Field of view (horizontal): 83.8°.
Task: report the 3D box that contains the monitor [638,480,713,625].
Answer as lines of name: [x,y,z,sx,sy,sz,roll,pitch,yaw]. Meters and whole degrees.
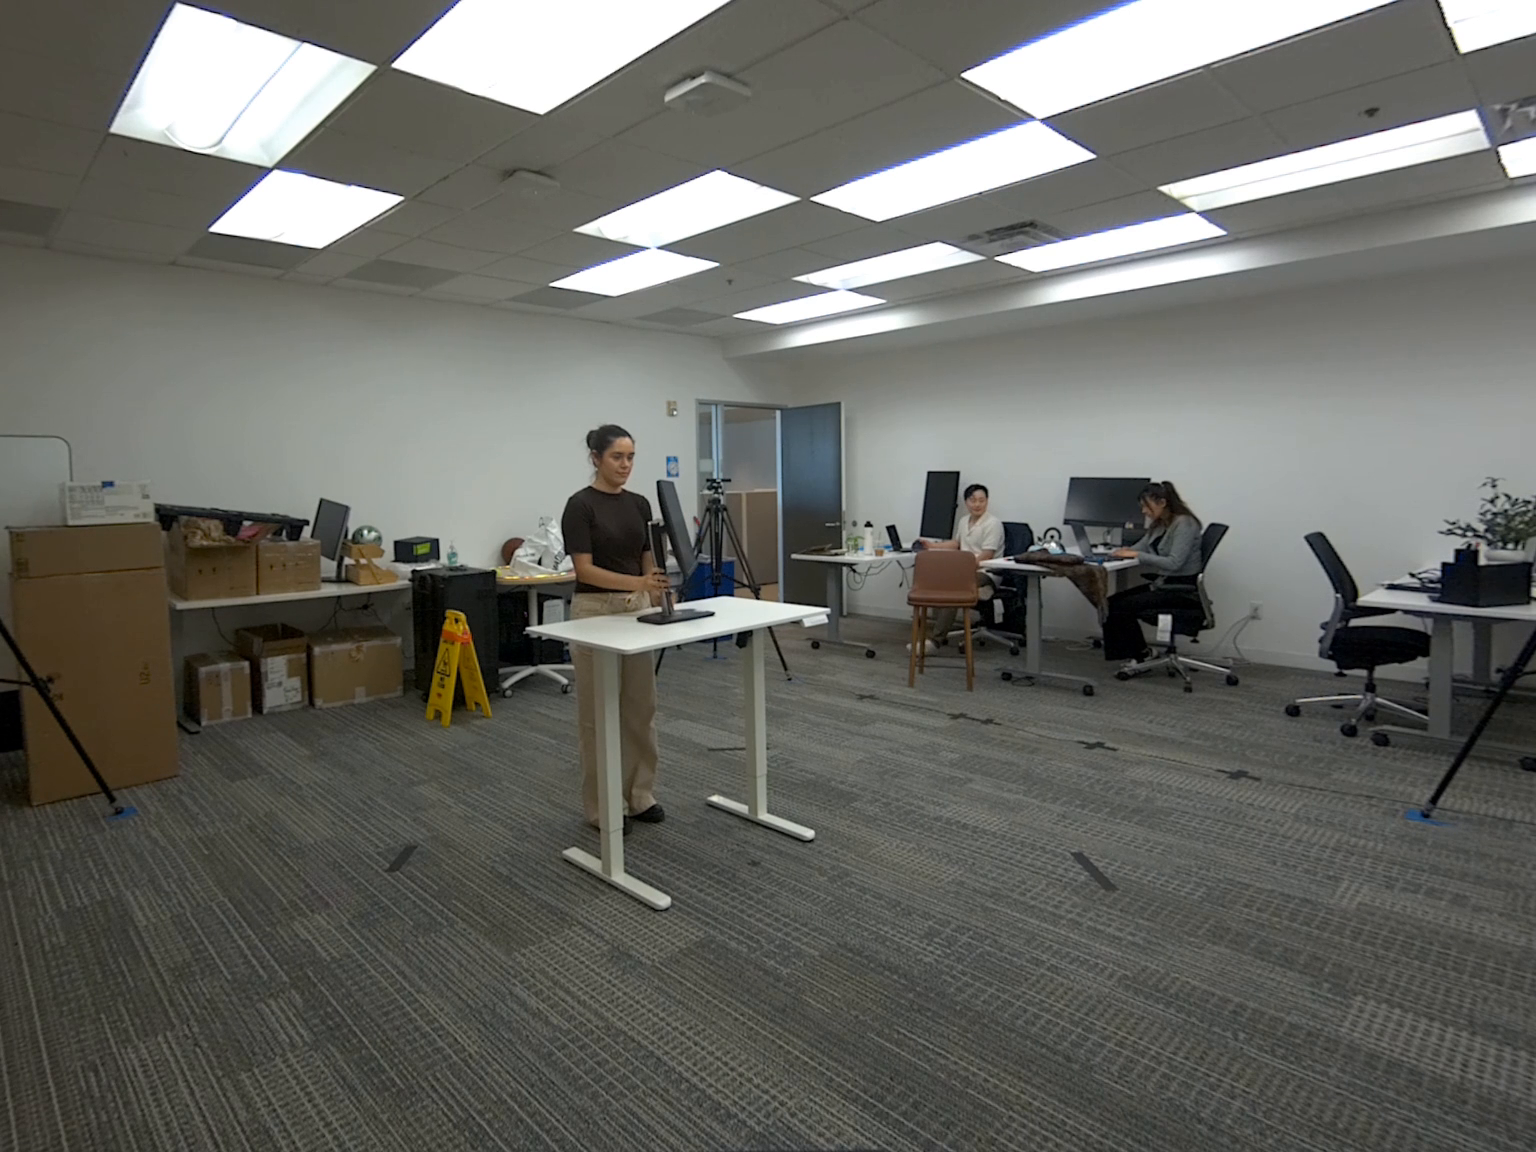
monitor: [-0.349,-0.094,3.185,0.187,0.521,0.542,-4,4,-4]
